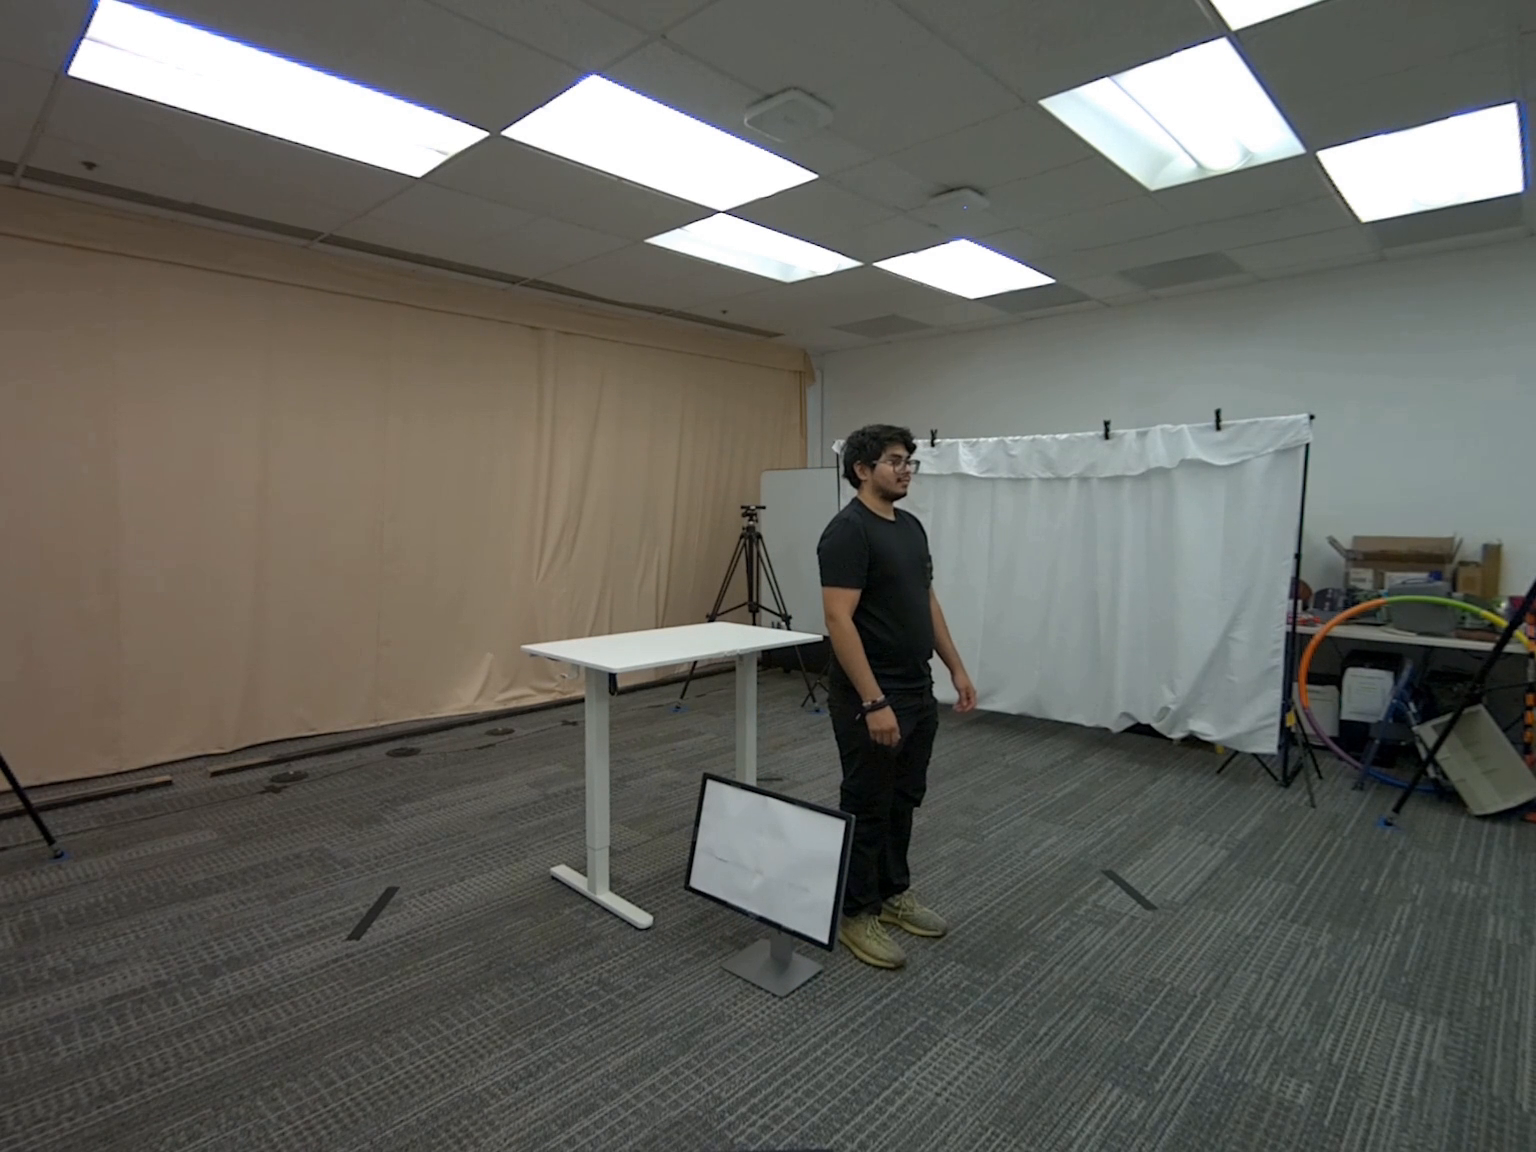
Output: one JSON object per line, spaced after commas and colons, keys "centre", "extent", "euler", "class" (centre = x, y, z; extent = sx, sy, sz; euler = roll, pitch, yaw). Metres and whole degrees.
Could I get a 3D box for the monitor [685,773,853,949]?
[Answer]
{"centre": [0.029, 0.914, 2.541], "extent": [0.584, 0.554, 0.203], "euler": [3, -2, 41], "class": "monitor"}
